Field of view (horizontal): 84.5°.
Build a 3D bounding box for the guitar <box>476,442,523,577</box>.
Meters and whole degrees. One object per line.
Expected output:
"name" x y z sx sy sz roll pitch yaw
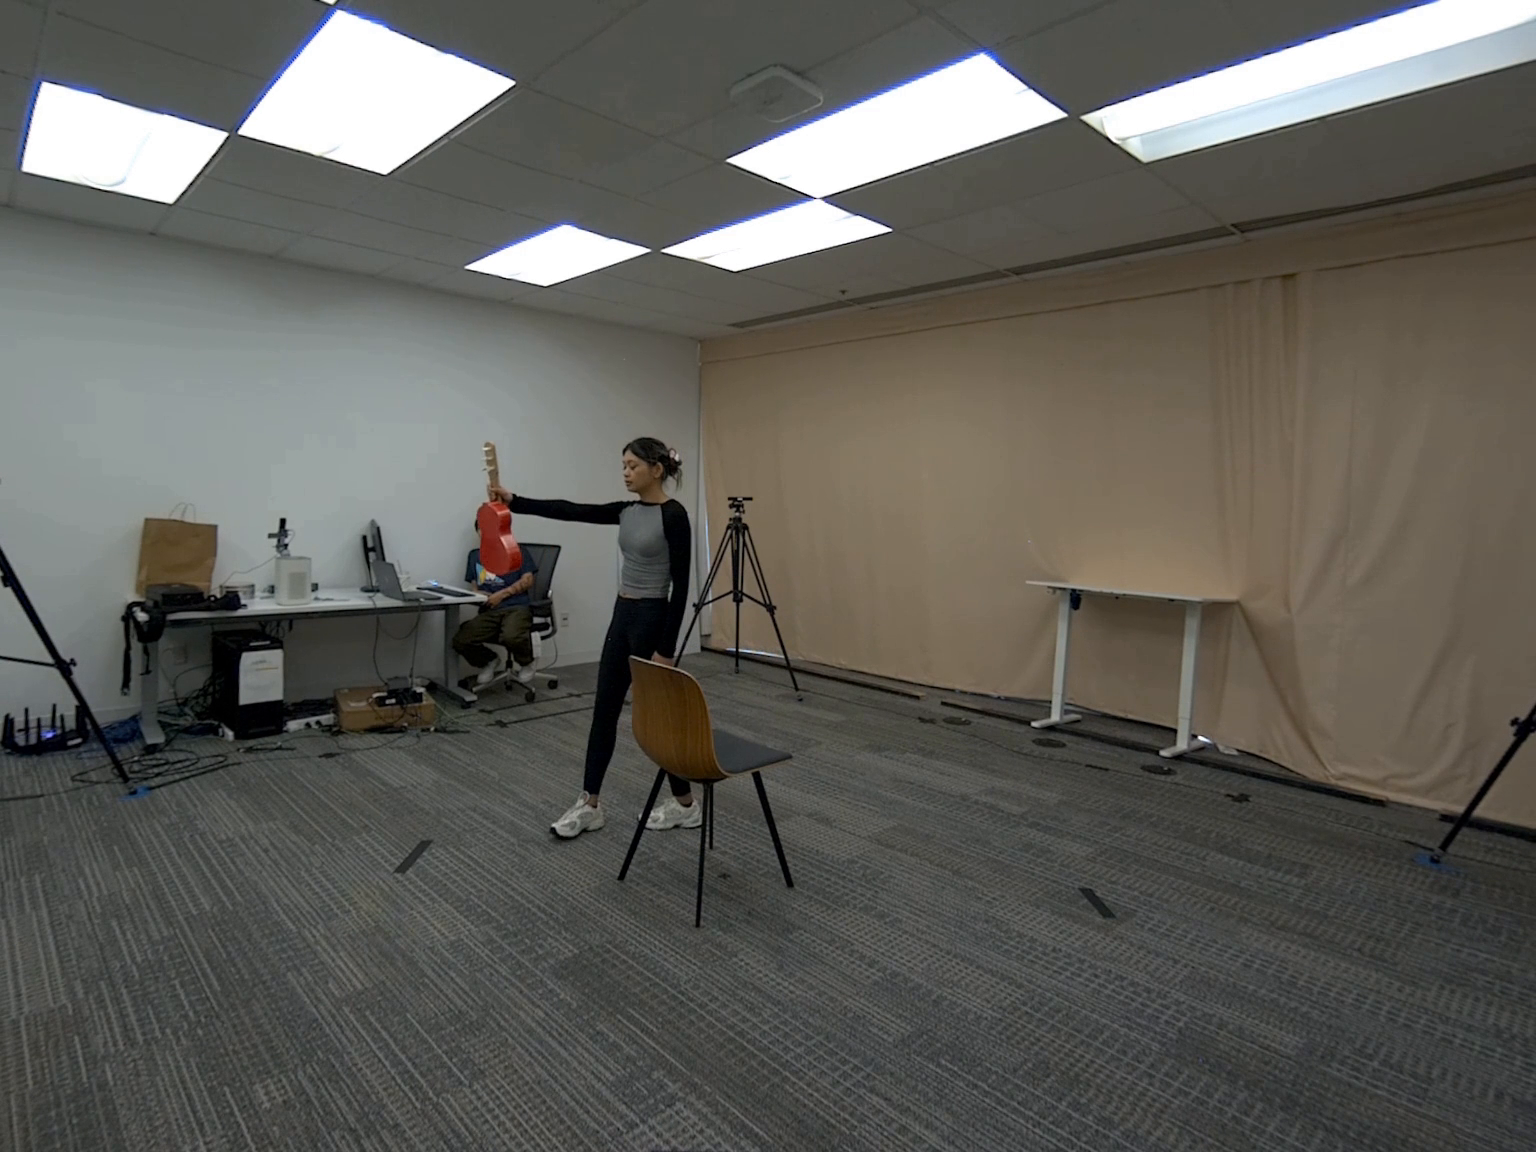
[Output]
"guitar" -1.070 -0.252 3.211 0.197 0.496 0.069 -9 5 41
